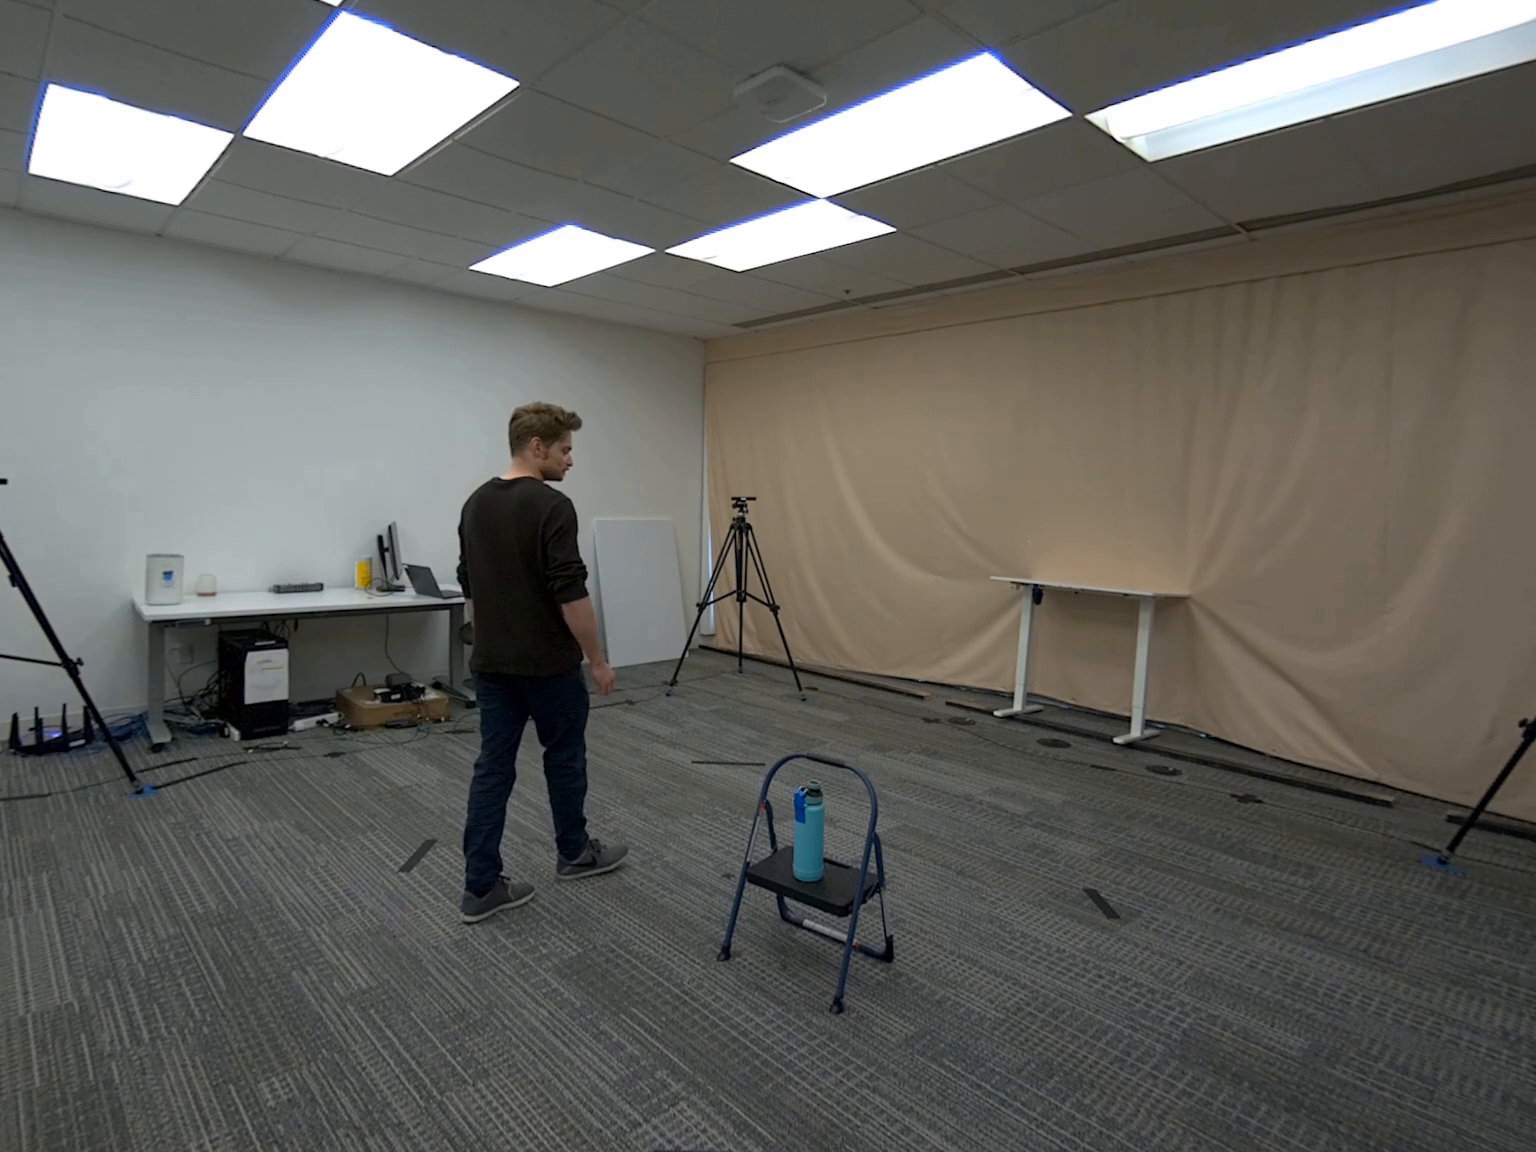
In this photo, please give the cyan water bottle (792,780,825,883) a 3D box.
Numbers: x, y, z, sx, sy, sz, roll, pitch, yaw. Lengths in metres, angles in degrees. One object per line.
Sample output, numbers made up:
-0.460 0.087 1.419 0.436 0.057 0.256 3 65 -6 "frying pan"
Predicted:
0.115 0.766 2.522 0.092 0.282 0.093 1 6 -2 "cyan water bottle"
